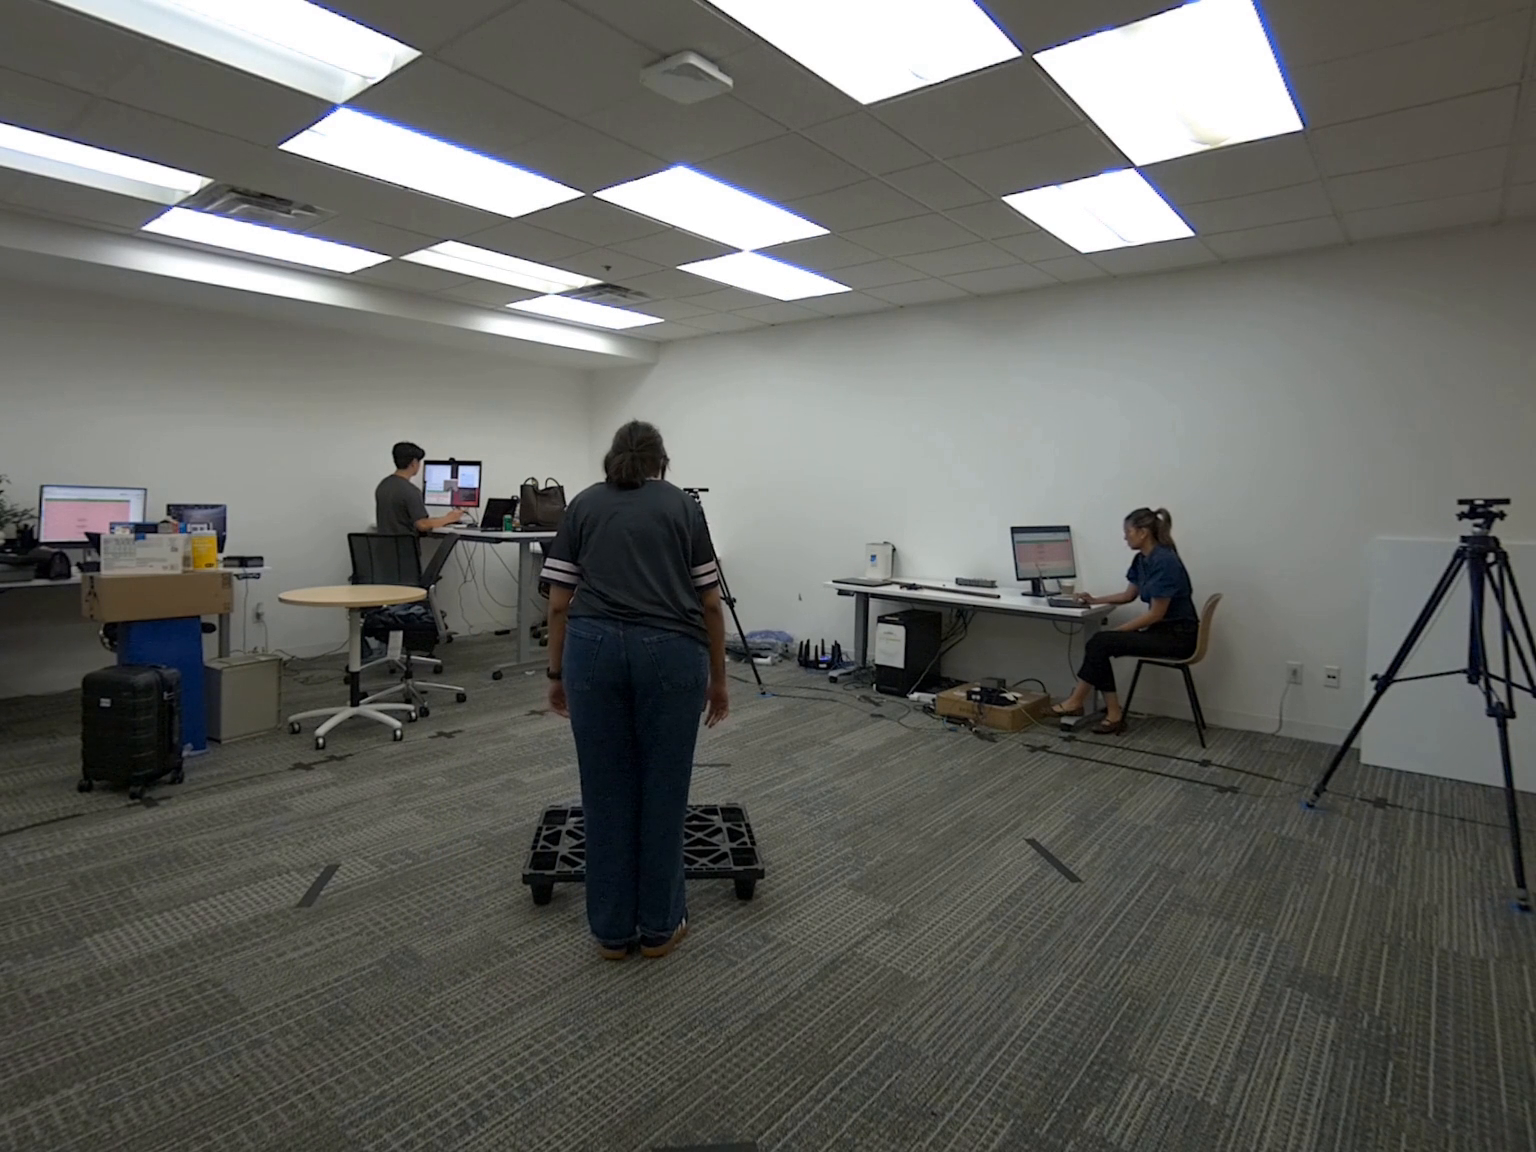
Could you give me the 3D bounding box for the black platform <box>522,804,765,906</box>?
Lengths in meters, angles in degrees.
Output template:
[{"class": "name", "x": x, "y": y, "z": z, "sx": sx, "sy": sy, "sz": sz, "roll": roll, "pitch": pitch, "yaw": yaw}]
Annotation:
[{"class": "black platform", "x": -0.459, "y": 0.999, "z": 3.080, "sx": 0.801, "sy": 0.143, "sz": 0.611, "roll": 0, "pitch": 5, "yaw": -6}]
